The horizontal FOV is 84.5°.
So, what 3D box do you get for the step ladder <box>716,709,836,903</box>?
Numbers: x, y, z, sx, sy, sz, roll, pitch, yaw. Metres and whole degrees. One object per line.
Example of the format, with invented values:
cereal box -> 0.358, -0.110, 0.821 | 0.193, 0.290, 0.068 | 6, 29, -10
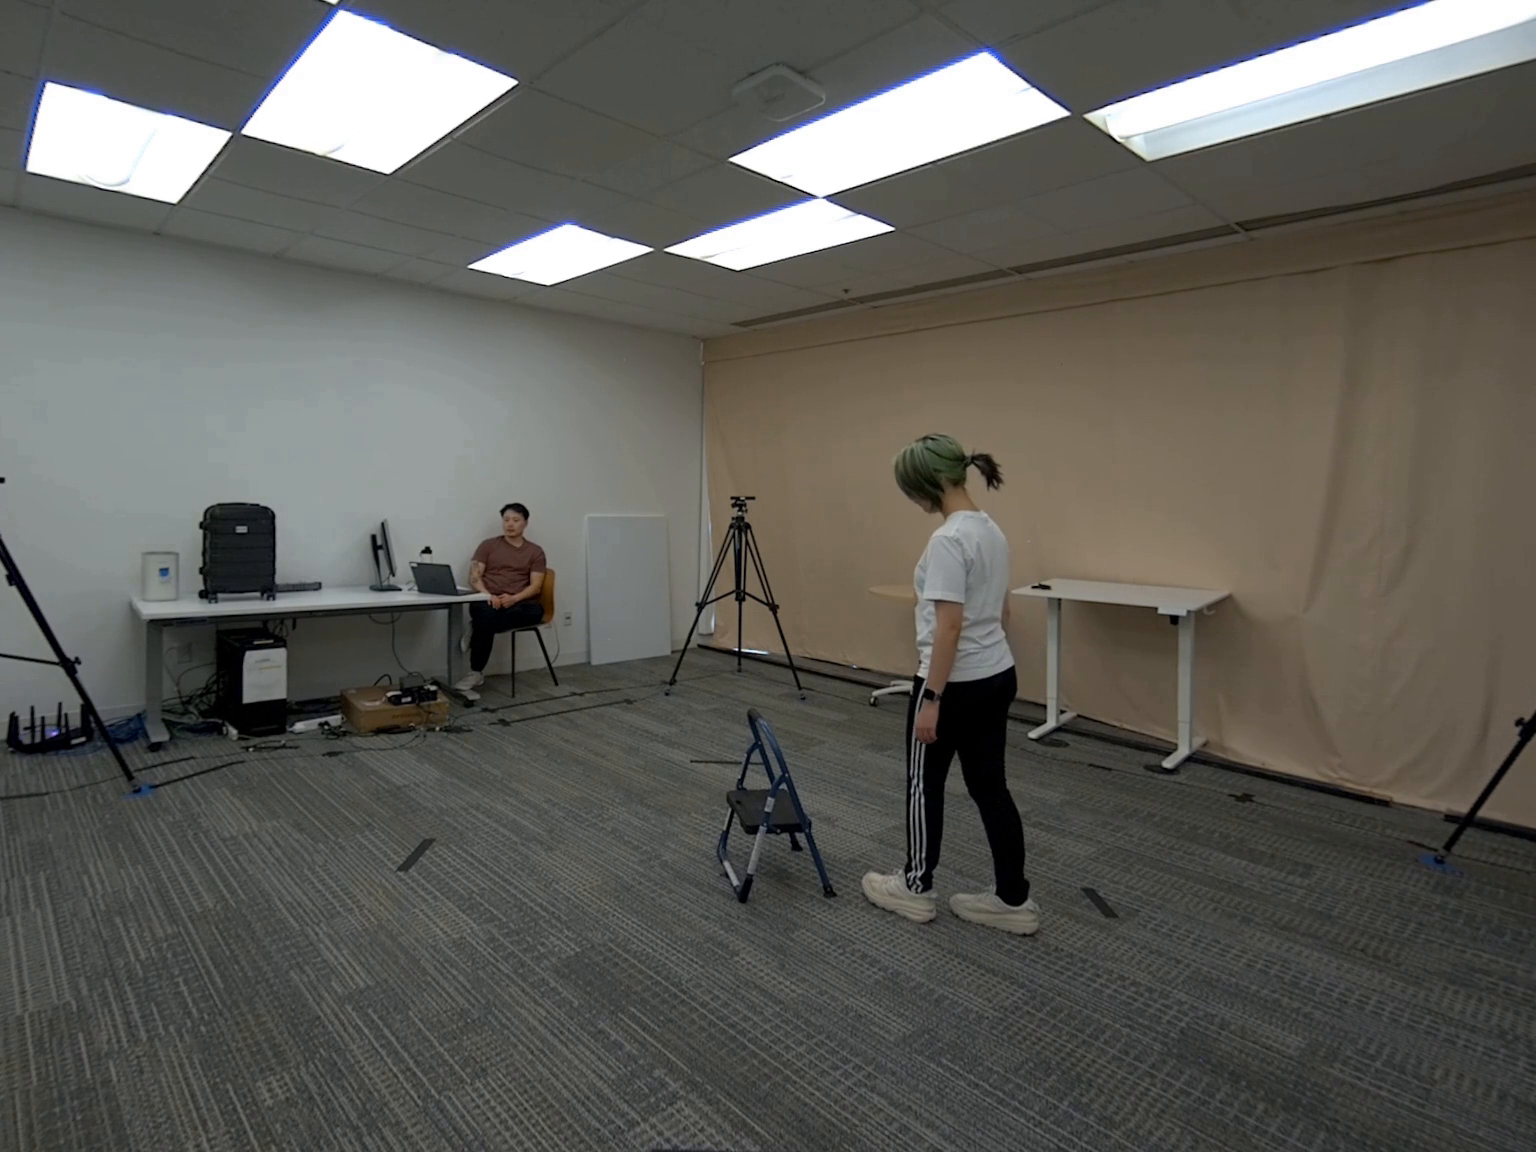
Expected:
step ladder -> 0.017, 0.806, 3.107 | 0.345, 0.605, 0.436 | 0, 3, -14
